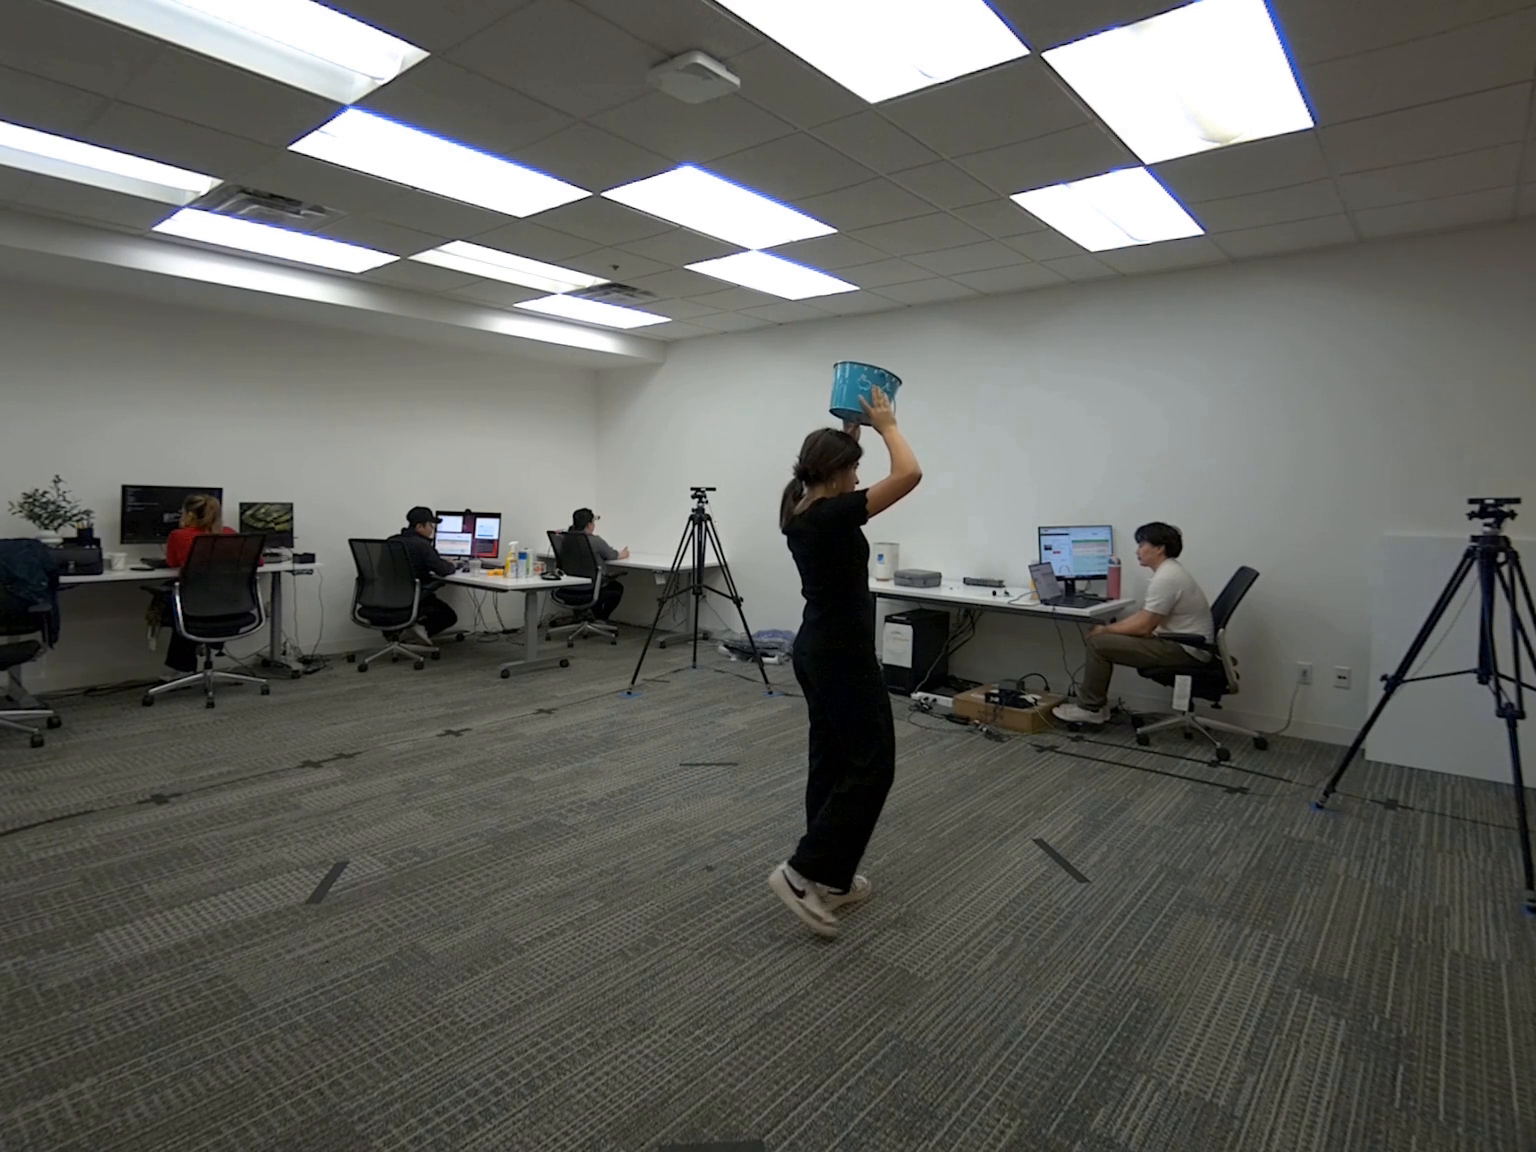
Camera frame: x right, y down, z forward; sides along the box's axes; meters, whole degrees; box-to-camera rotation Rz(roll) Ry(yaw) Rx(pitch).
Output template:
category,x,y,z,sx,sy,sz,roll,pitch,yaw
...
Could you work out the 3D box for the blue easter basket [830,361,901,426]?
category,x,y,z,sx,sy,sz,roll,pitch,yaw
blue easter basket,0.314,-0.603,2.822,0.244,0.156,0.243,17,-2,-1
